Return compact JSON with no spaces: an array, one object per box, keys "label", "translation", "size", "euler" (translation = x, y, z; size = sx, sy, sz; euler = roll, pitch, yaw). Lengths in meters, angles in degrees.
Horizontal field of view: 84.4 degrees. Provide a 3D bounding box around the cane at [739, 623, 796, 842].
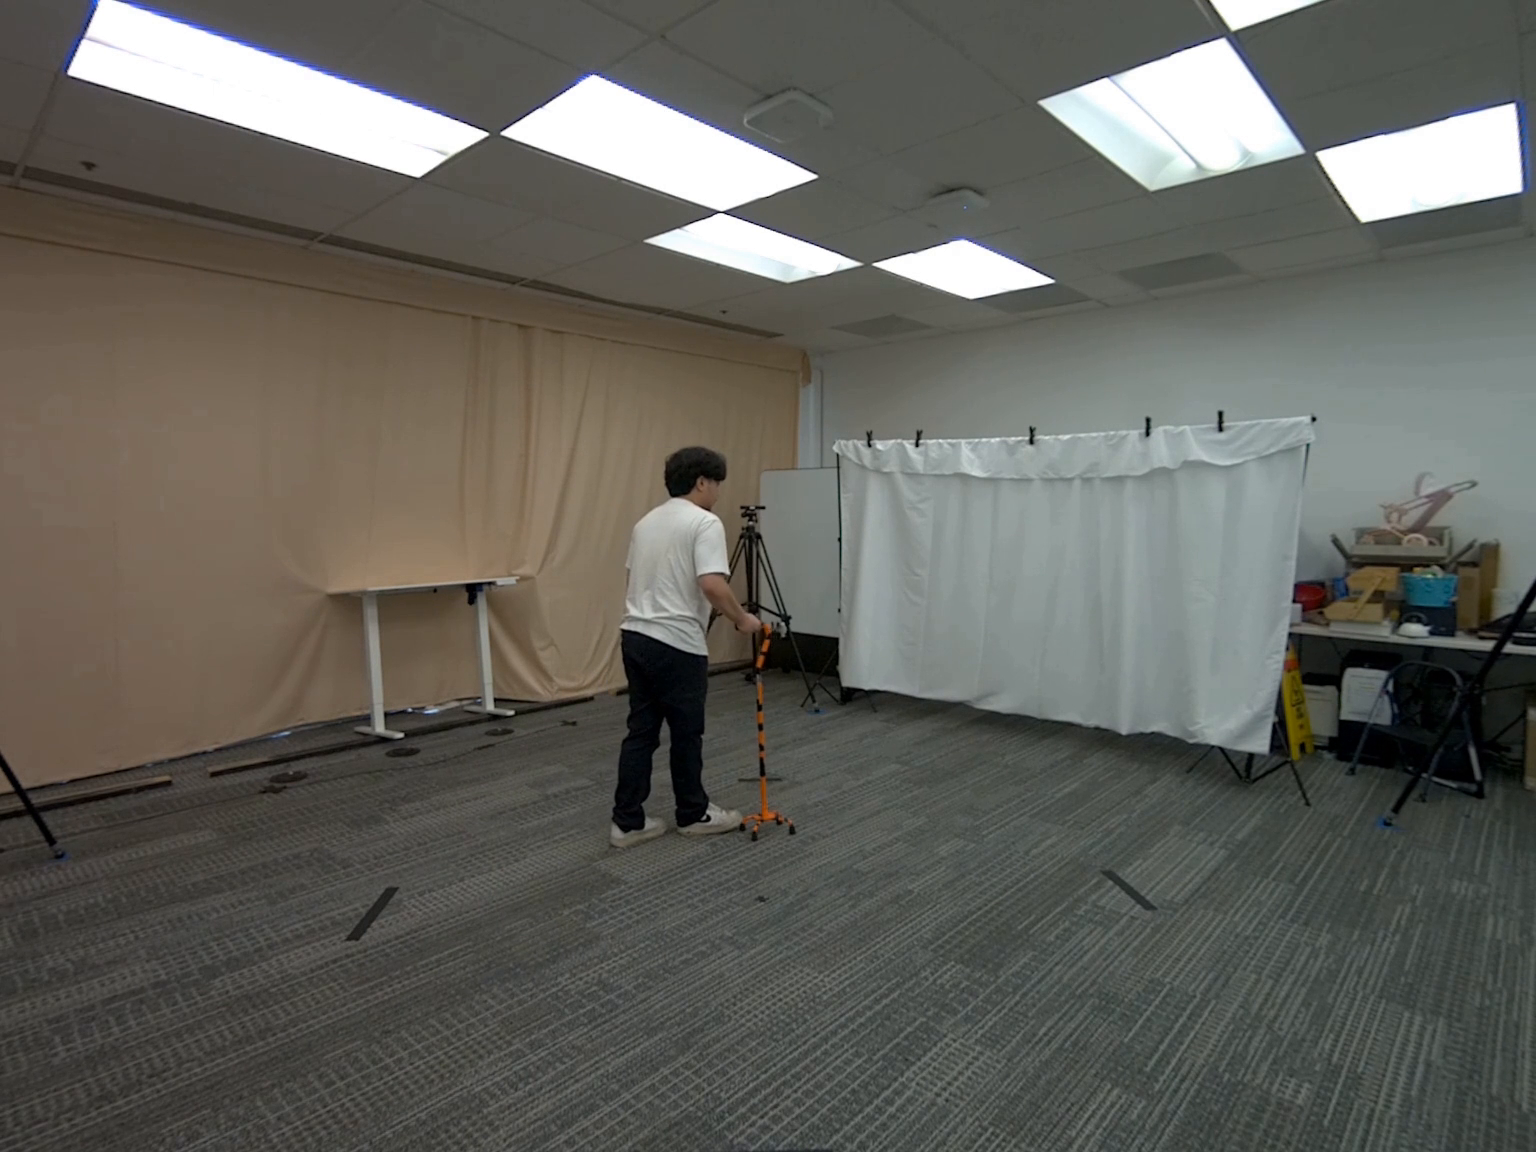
[{"label":"cane","translation":[-0.014,0.639,3.561],"size":[0.201,0.905,0.155],"euler":[-3,4,-26]}]
